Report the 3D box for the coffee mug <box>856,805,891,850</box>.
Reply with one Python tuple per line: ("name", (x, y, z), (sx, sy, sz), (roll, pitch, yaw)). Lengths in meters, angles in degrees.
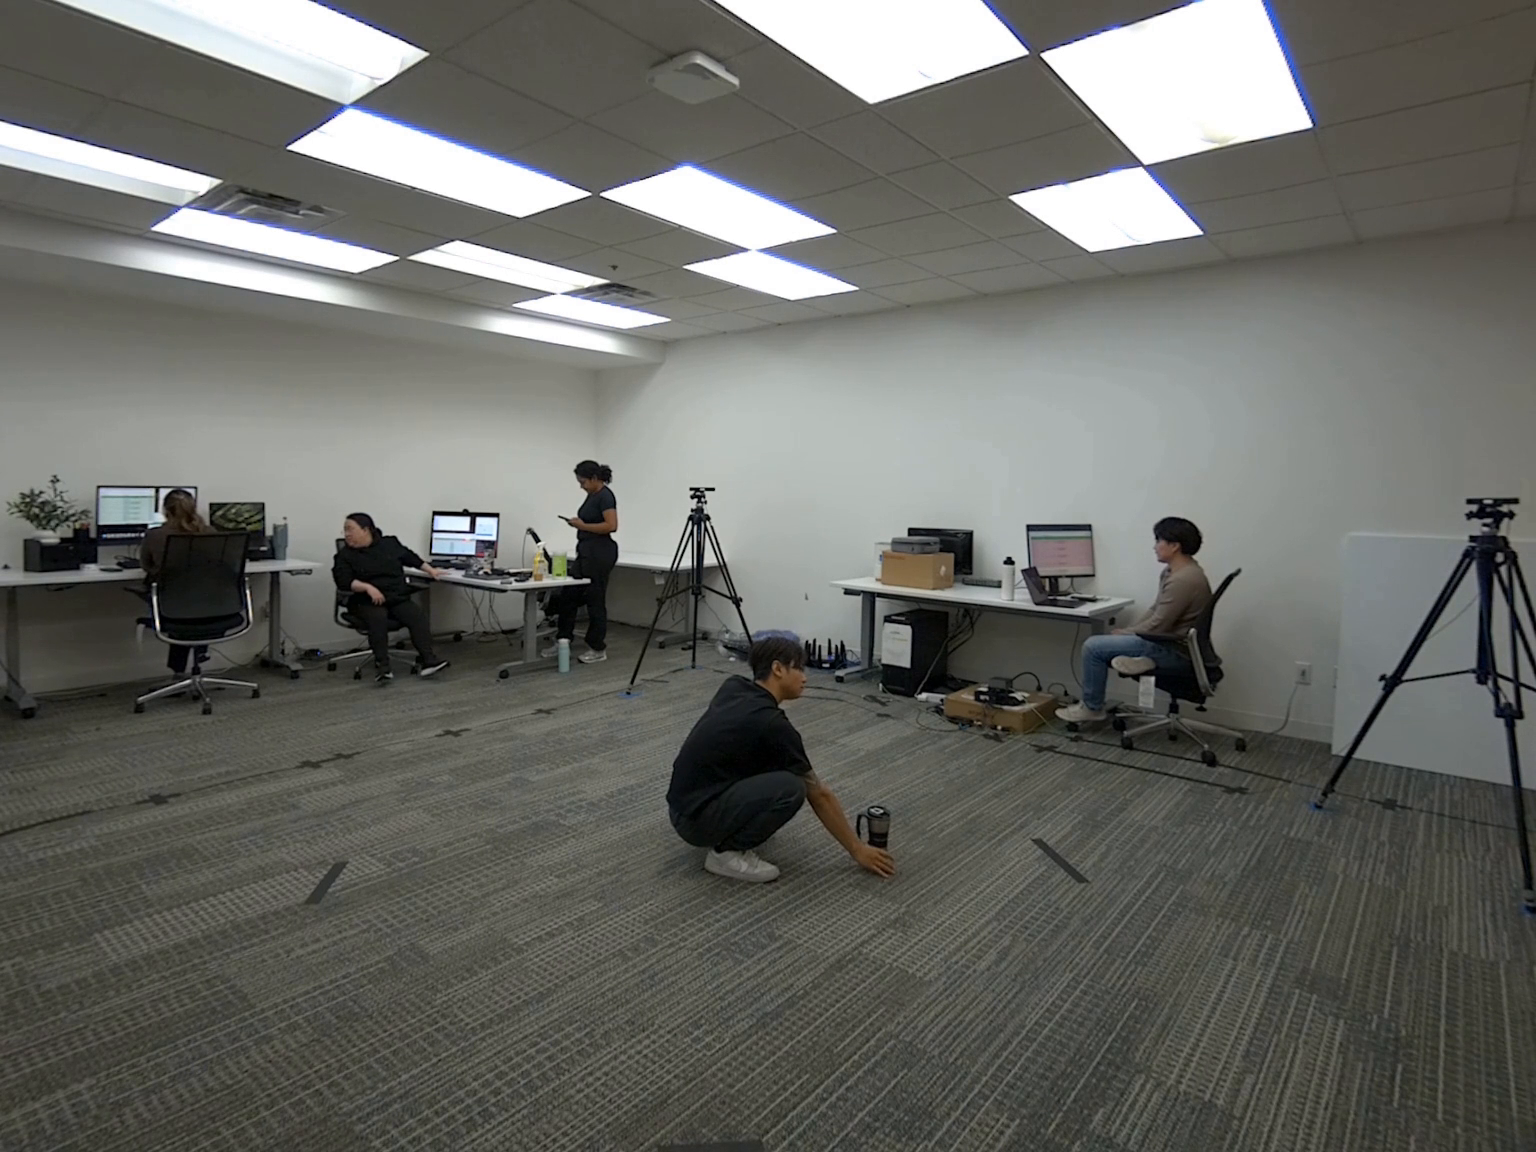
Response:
("coffee mug", (0.391, 0.979, 3.195), (0.126, 0.201, 0.086), (6, 13, 40))
